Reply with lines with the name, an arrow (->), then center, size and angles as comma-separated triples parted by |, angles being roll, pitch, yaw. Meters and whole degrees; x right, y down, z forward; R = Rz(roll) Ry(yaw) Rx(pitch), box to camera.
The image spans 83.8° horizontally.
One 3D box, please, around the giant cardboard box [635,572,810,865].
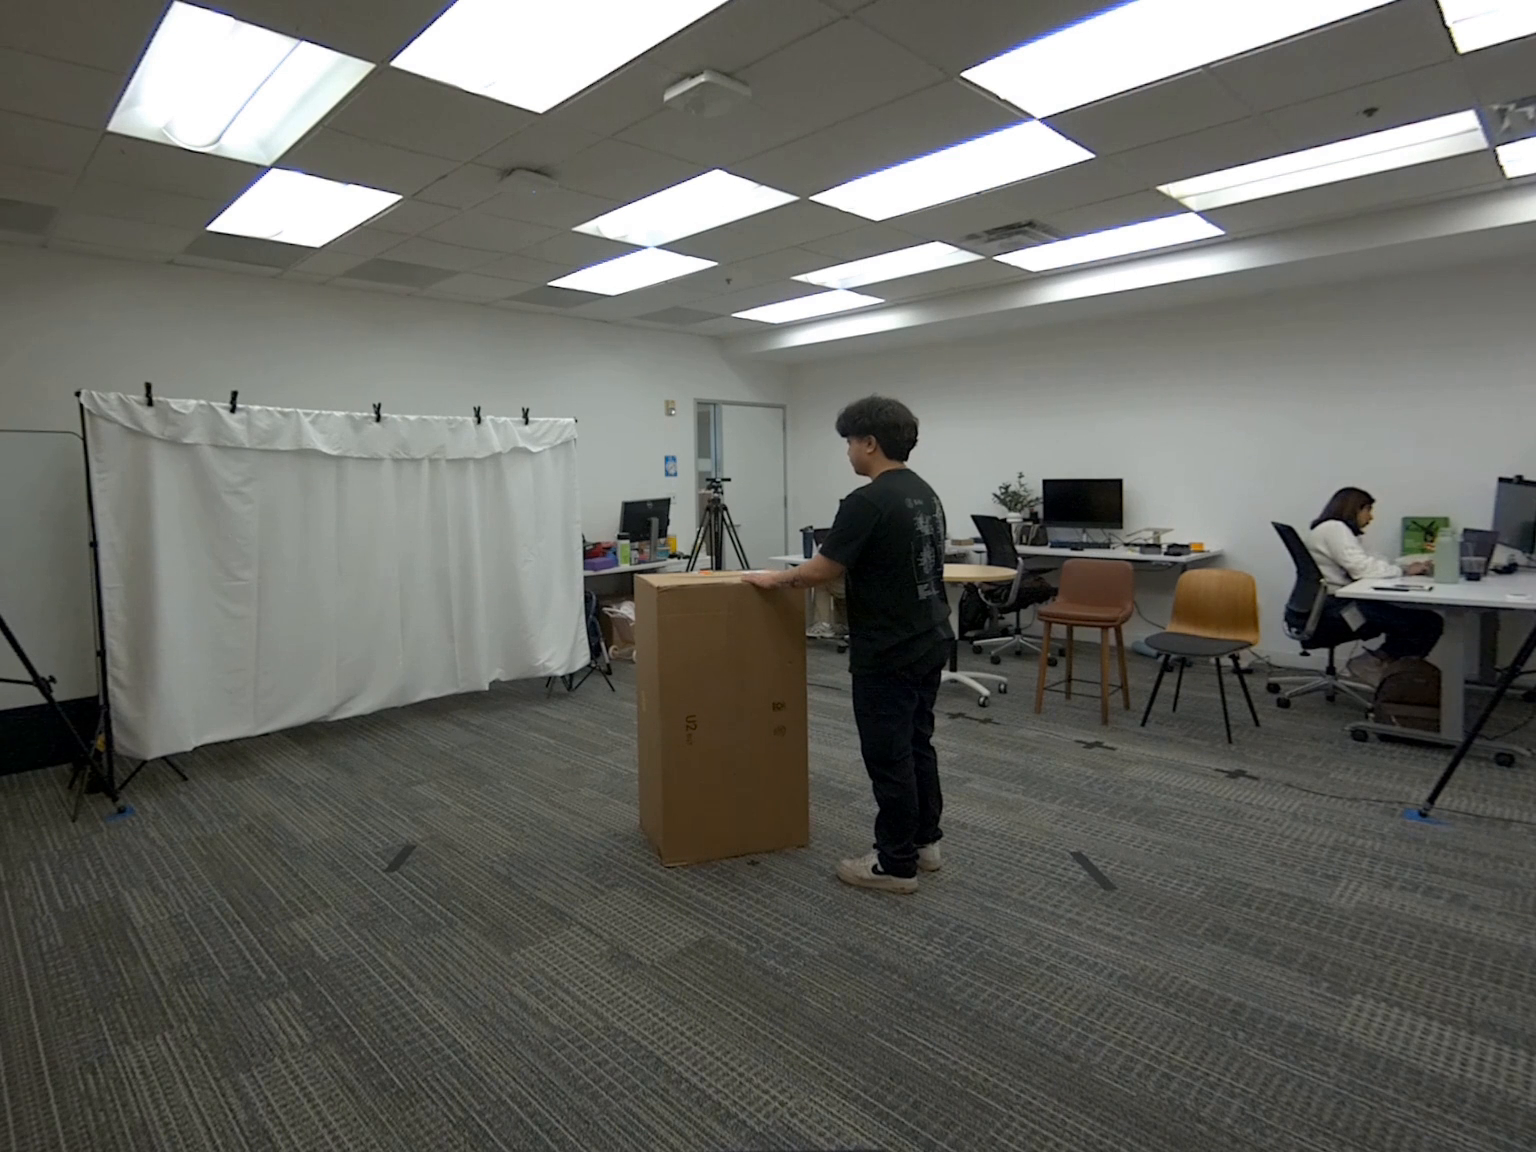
giant cardboard box -> -0.190, 0.506, 3.332 | 0.575, 1.024, 0.455 | -2, 4, -18
